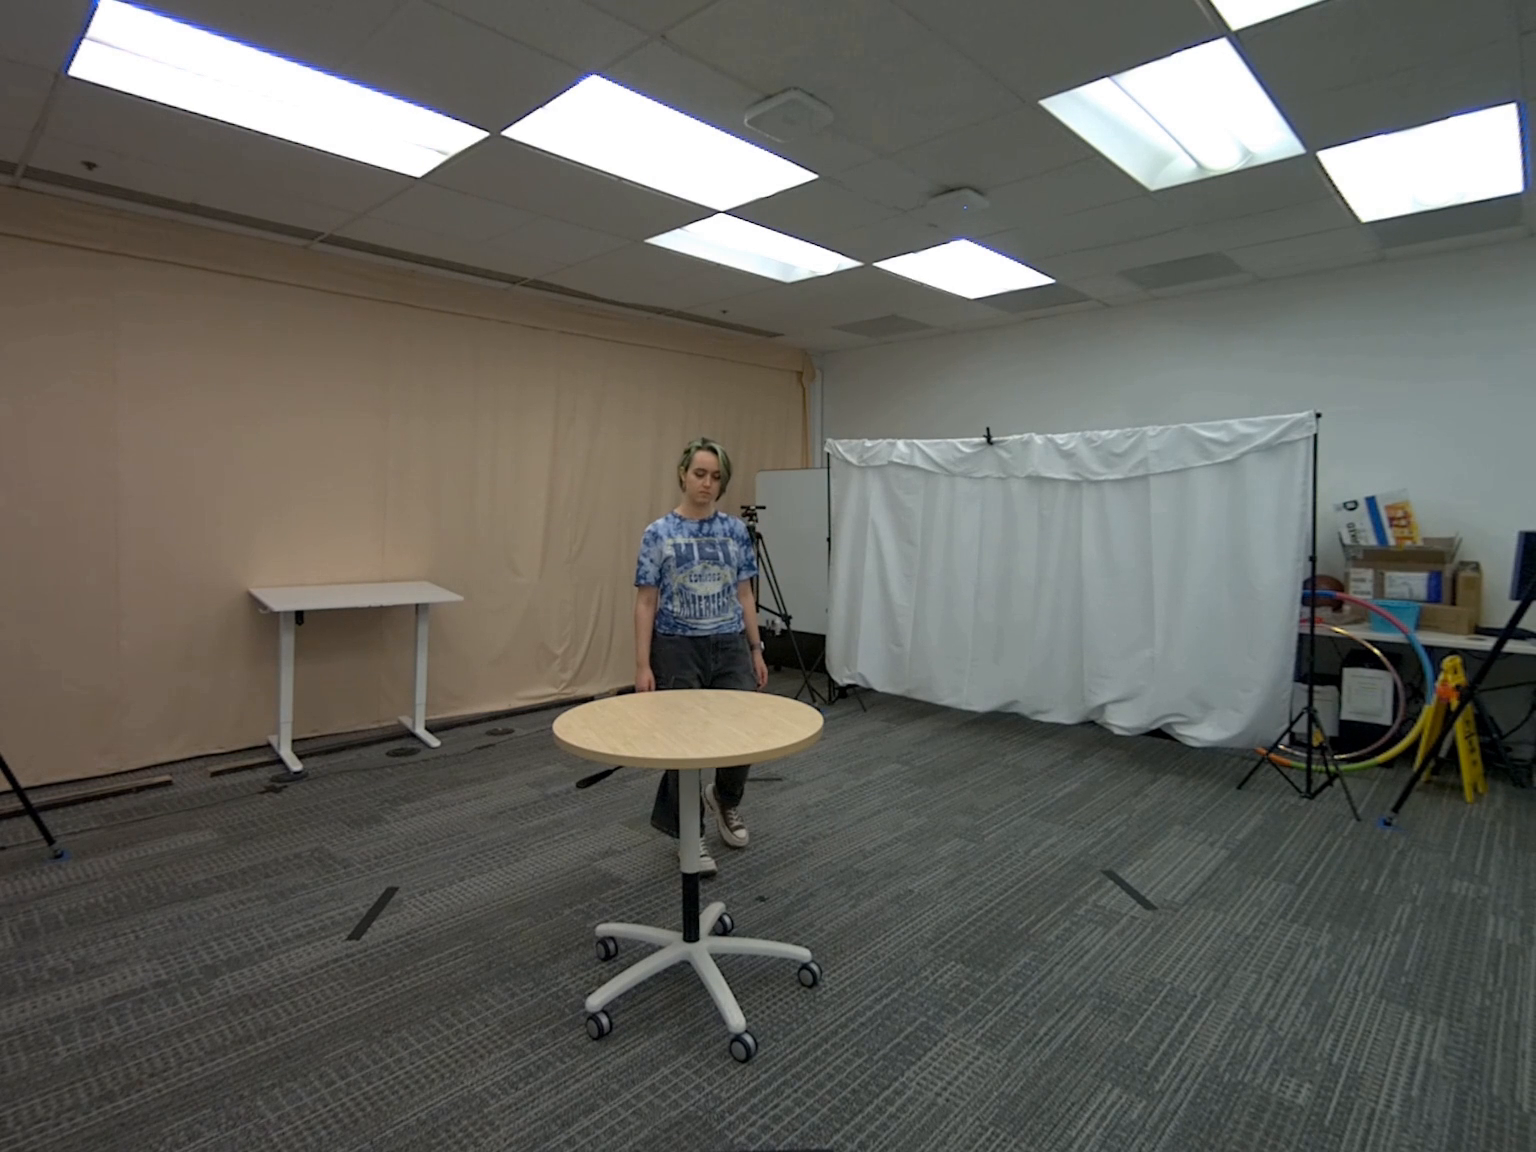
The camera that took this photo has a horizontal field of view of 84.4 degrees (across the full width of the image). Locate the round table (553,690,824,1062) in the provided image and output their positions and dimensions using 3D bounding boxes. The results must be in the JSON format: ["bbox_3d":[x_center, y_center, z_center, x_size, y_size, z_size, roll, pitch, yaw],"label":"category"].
[{"bbox_3d":[-0.231,0.795,2.435,0.784,0.785,0.788,0,3,-2],"label":"round table"}]
